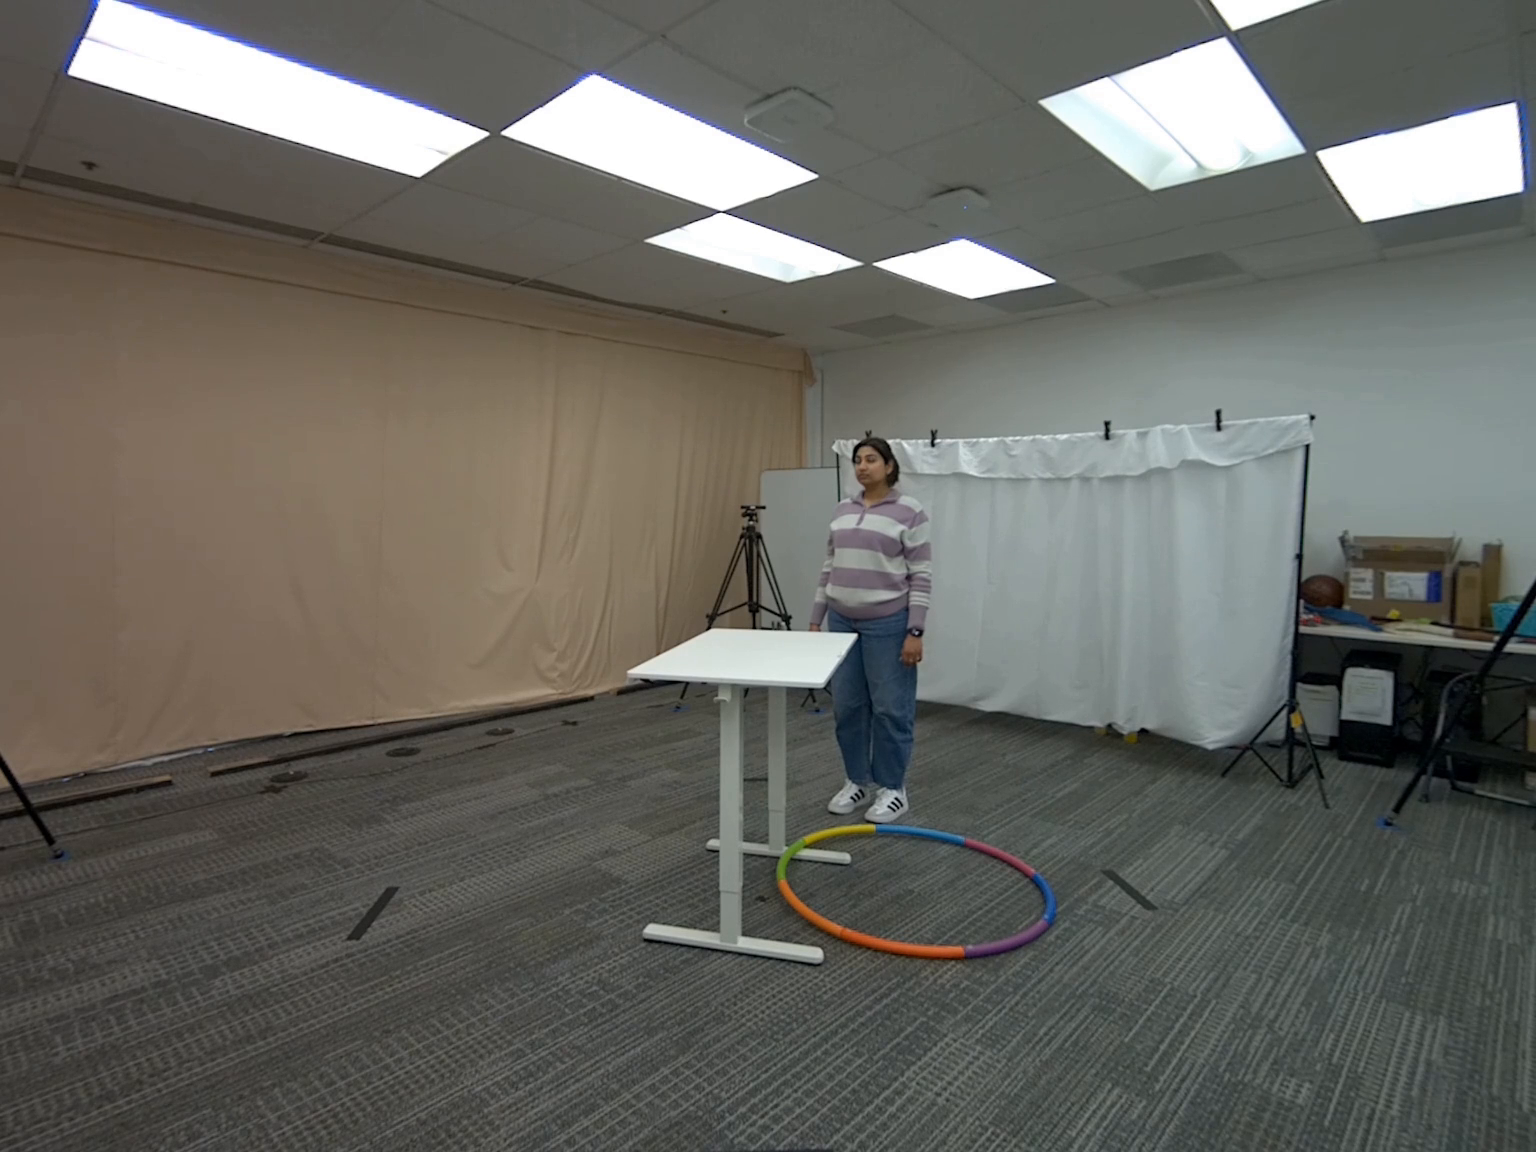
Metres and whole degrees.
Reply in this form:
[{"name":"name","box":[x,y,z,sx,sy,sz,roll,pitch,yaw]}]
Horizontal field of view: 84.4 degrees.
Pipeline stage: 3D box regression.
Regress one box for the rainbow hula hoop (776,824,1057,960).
[{"name":"rainbow hula hoop","box":[0.532,1.103,3.062,0.978,0.035,0.983,1,6,-2]}]
